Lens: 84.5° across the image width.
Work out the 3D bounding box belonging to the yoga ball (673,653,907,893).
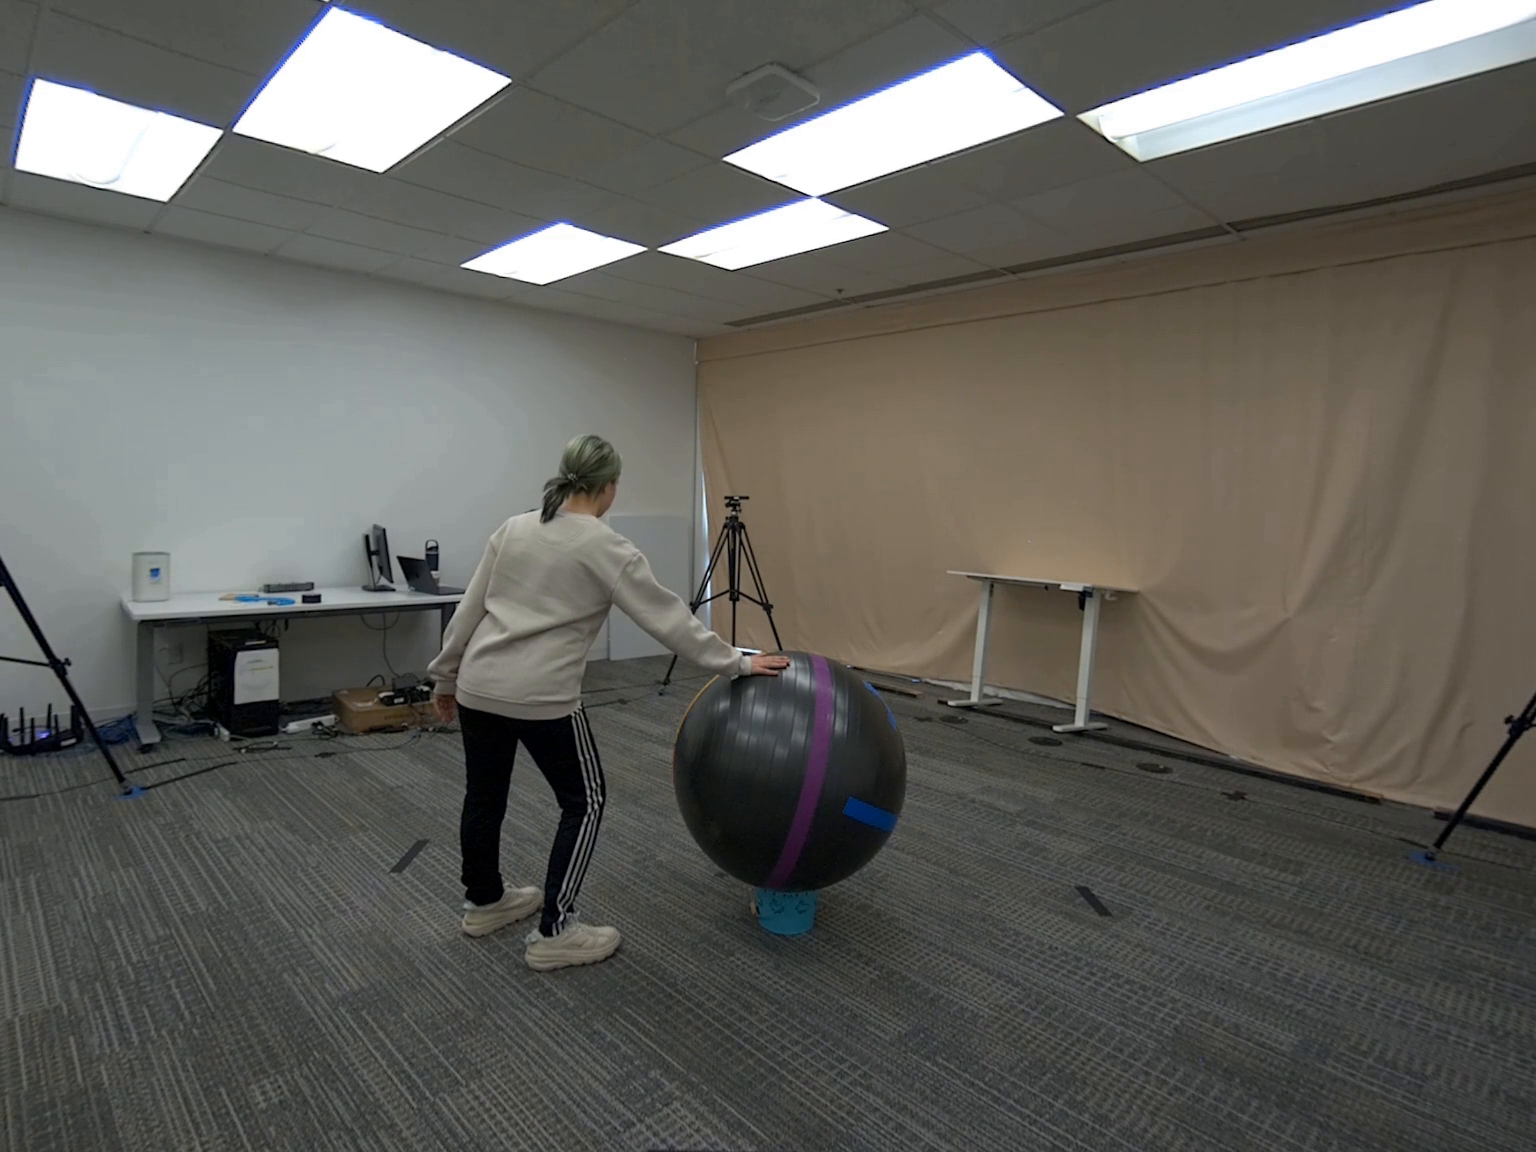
[{"bbox_3d":[0.060,0.630,2.755,0.757,0.756,0.761,1,4,-1],"label":"yoga ball"}]
